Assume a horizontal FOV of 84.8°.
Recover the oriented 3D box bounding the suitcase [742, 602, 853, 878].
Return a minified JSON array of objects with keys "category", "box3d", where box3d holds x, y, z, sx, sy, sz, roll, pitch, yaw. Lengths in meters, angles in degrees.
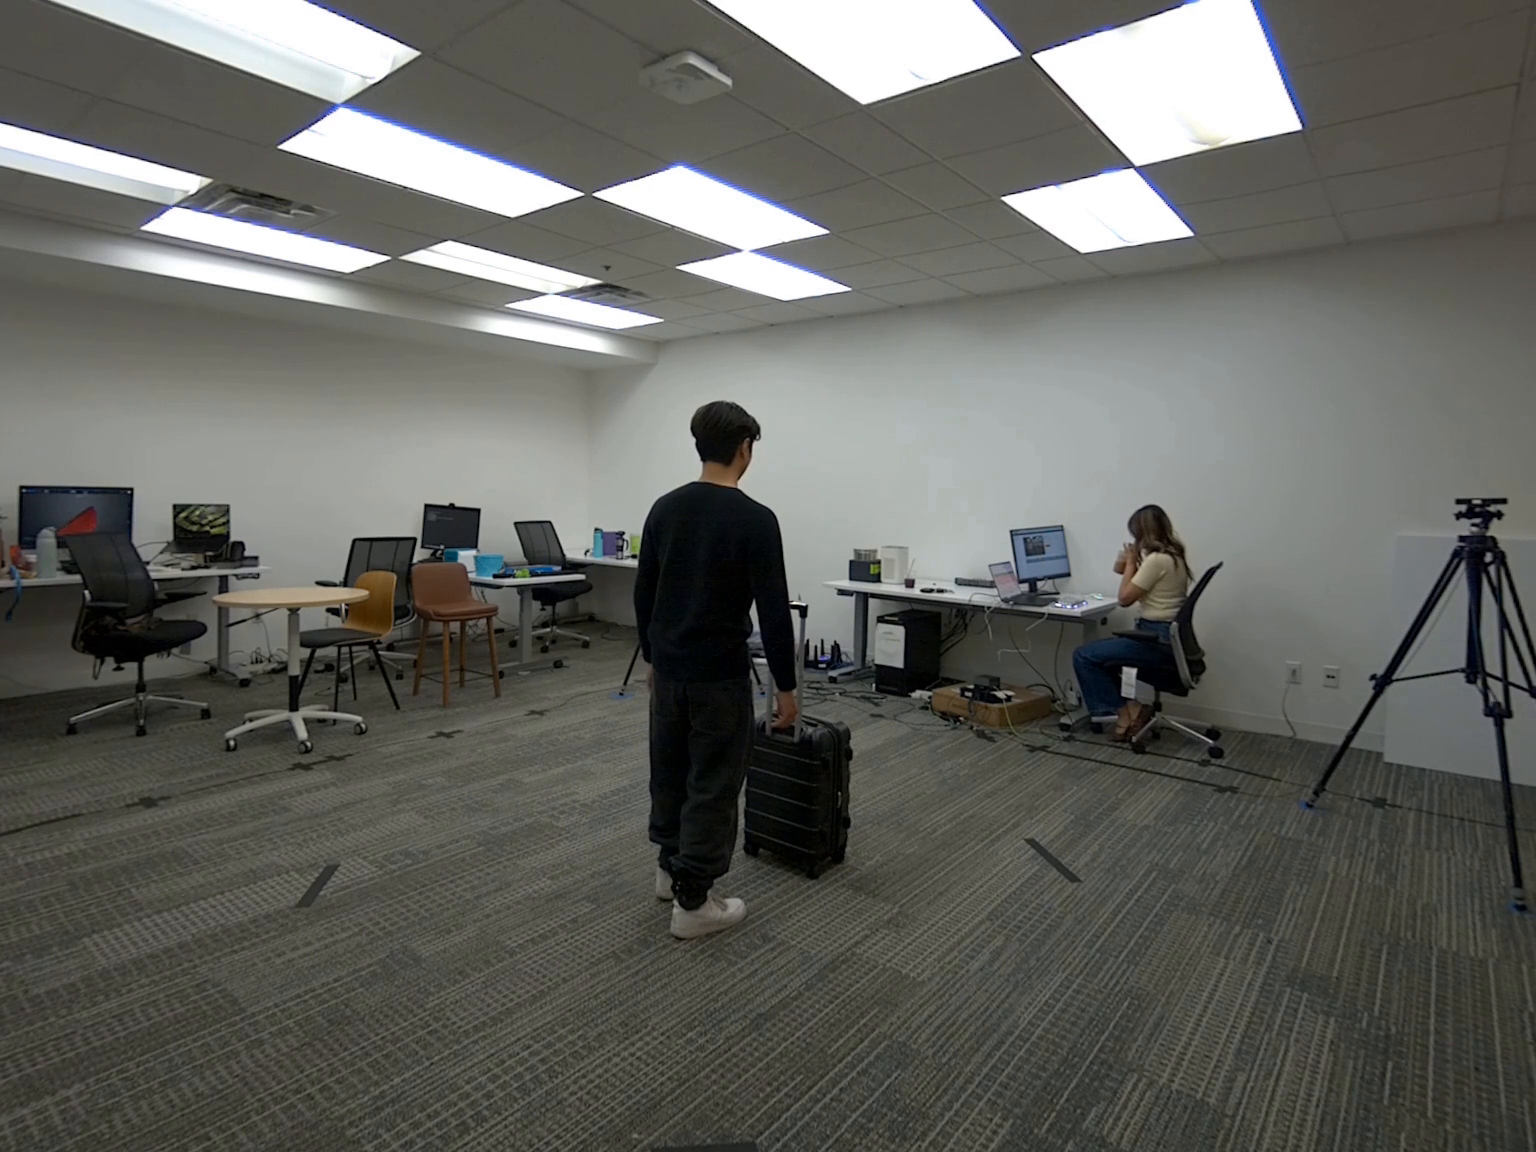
[{"category":"suitcase","box3d":[0.116,0.588,3.214,0.397,0.977,0.249,5,2,38]}]
